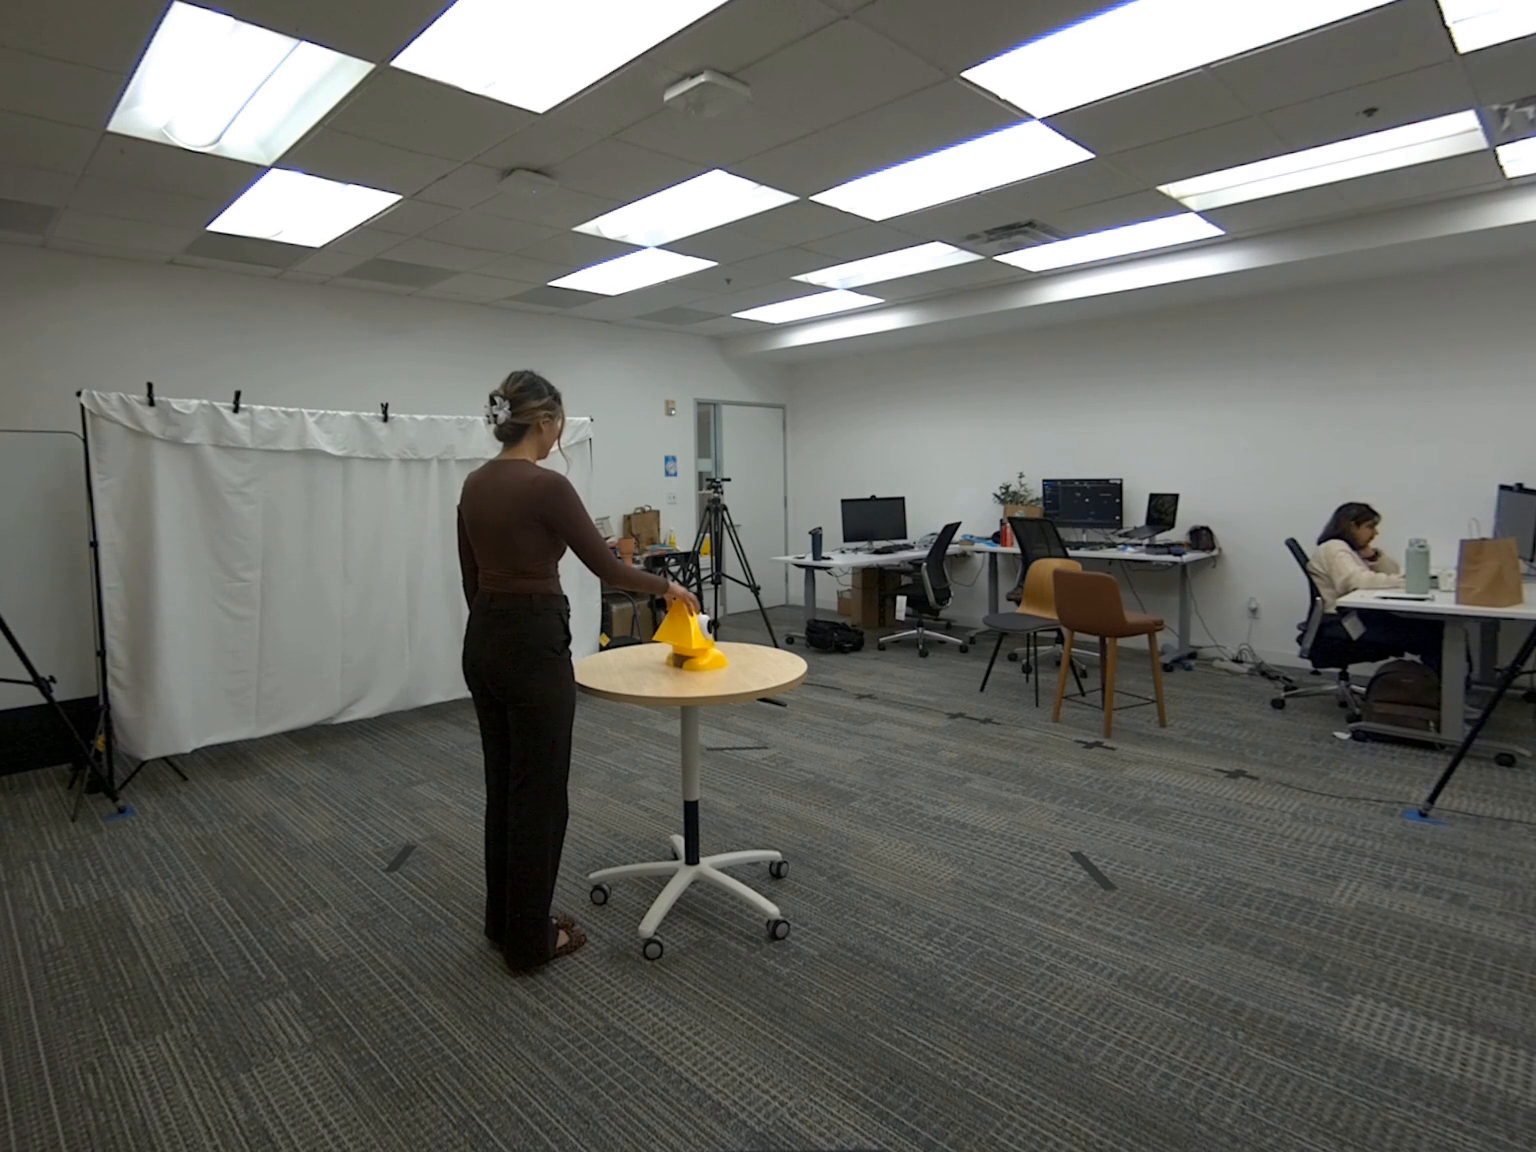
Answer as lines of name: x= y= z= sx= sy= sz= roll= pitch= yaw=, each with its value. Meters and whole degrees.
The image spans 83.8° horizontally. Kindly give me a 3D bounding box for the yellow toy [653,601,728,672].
yellow toy: x=-0.238 y=0.173 z=2.767 sx=0.188 sy=0.230 sz=0.211 roll=-4 pitch=7 yaw=-44
